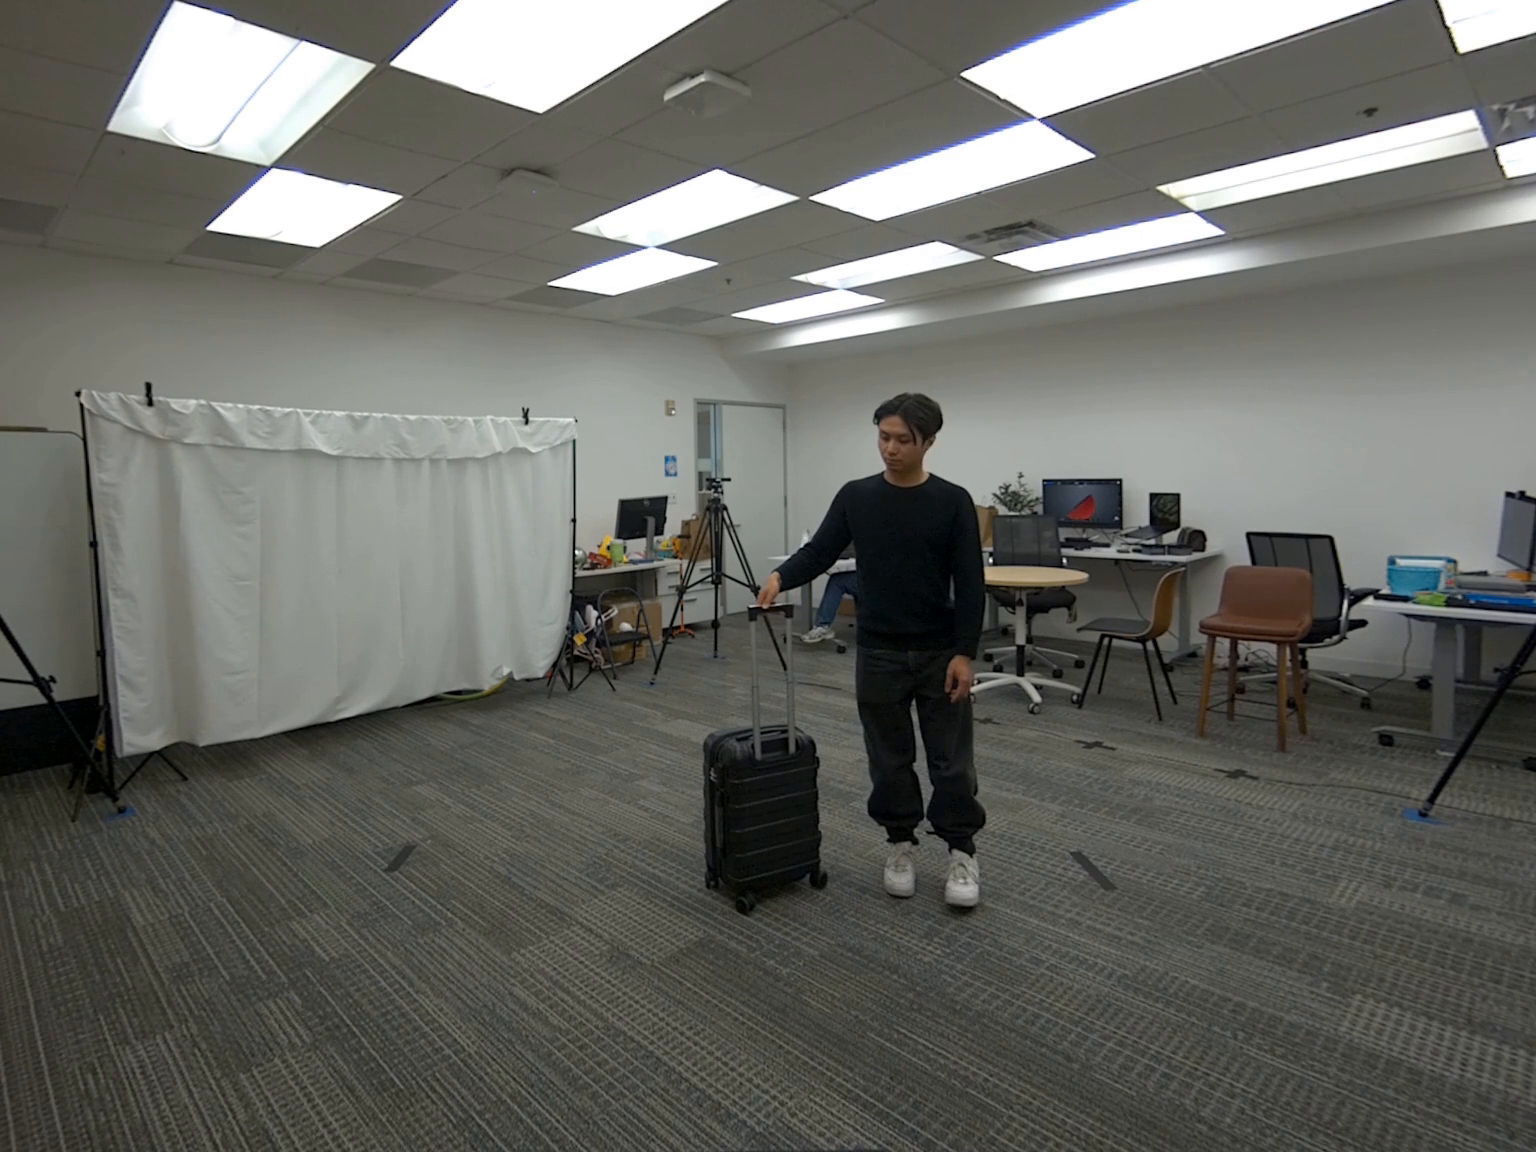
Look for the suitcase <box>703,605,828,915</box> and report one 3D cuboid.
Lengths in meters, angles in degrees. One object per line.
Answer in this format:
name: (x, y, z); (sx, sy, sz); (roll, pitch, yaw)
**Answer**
suitcase: (-0.030, 0.590, 2.903); (0.375, 0.977, 0.263); (-3, 2, -28)
